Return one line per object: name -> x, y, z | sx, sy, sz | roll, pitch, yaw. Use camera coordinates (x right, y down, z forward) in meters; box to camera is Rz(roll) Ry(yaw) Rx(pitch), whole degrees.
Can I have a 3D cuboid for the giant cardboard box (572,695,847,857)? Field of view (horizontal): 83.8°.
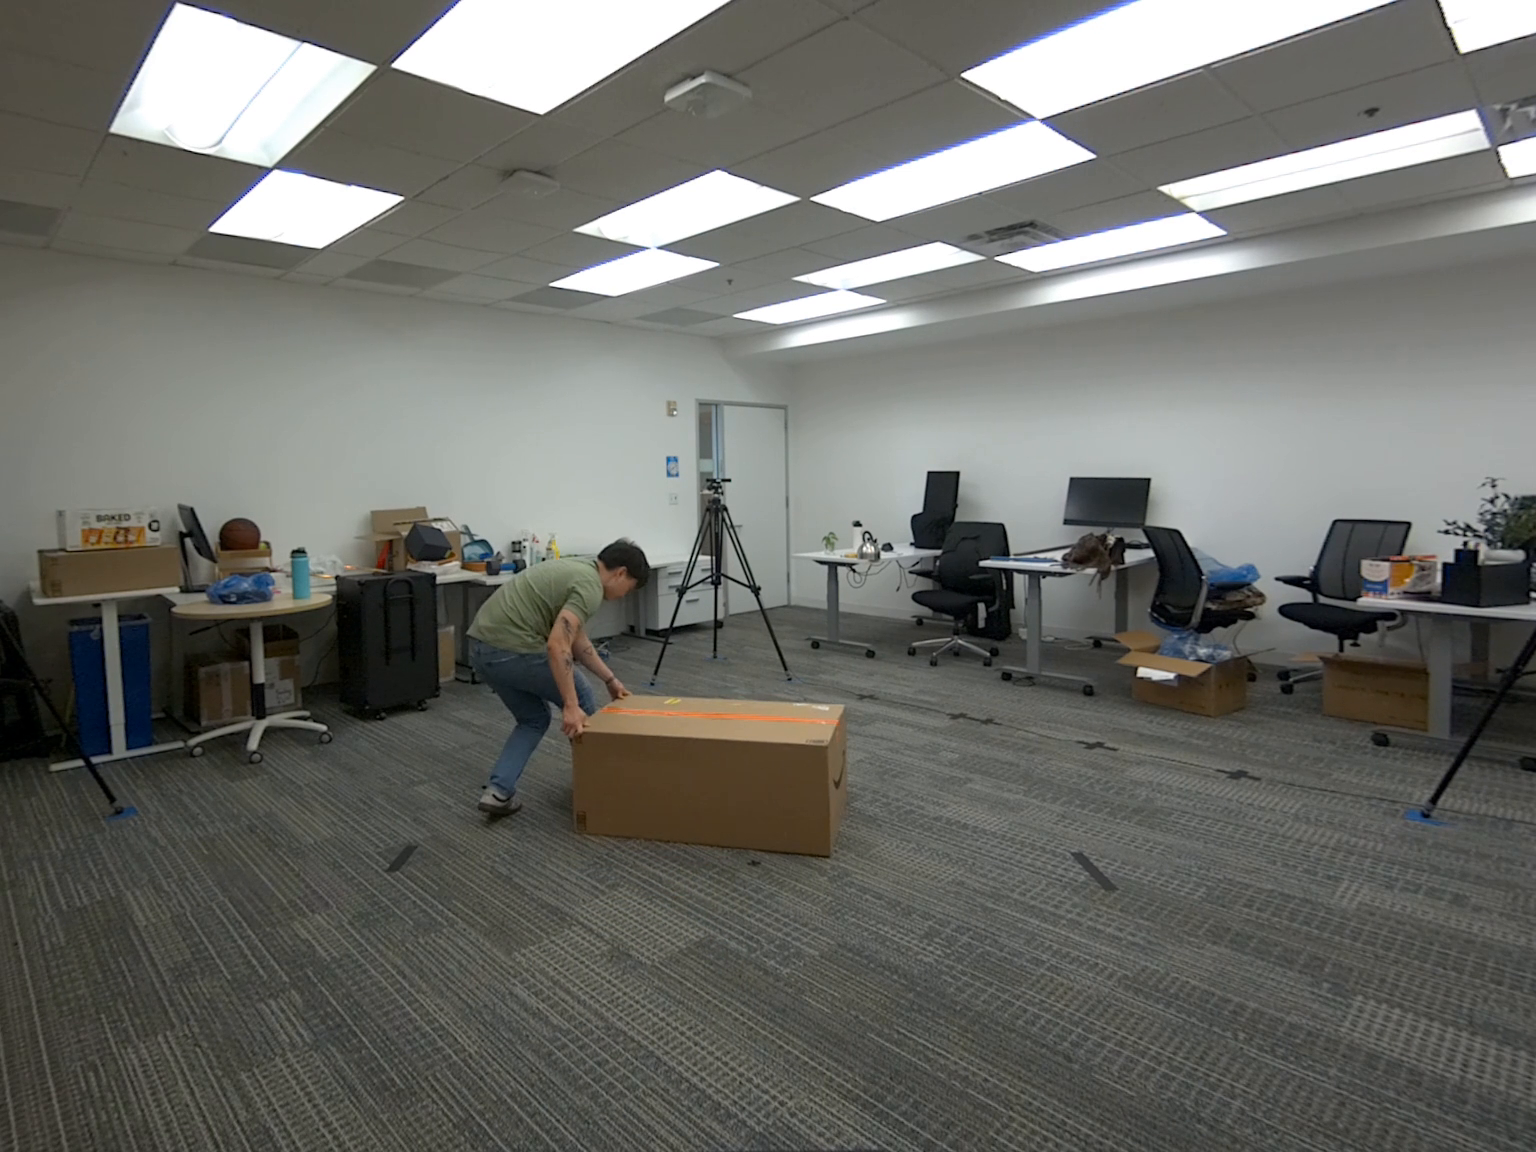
giant cardboard box -> -0.209, 0.786, 3.524 | 1.041, 0.425, 0.571 | 0, 4, 14
